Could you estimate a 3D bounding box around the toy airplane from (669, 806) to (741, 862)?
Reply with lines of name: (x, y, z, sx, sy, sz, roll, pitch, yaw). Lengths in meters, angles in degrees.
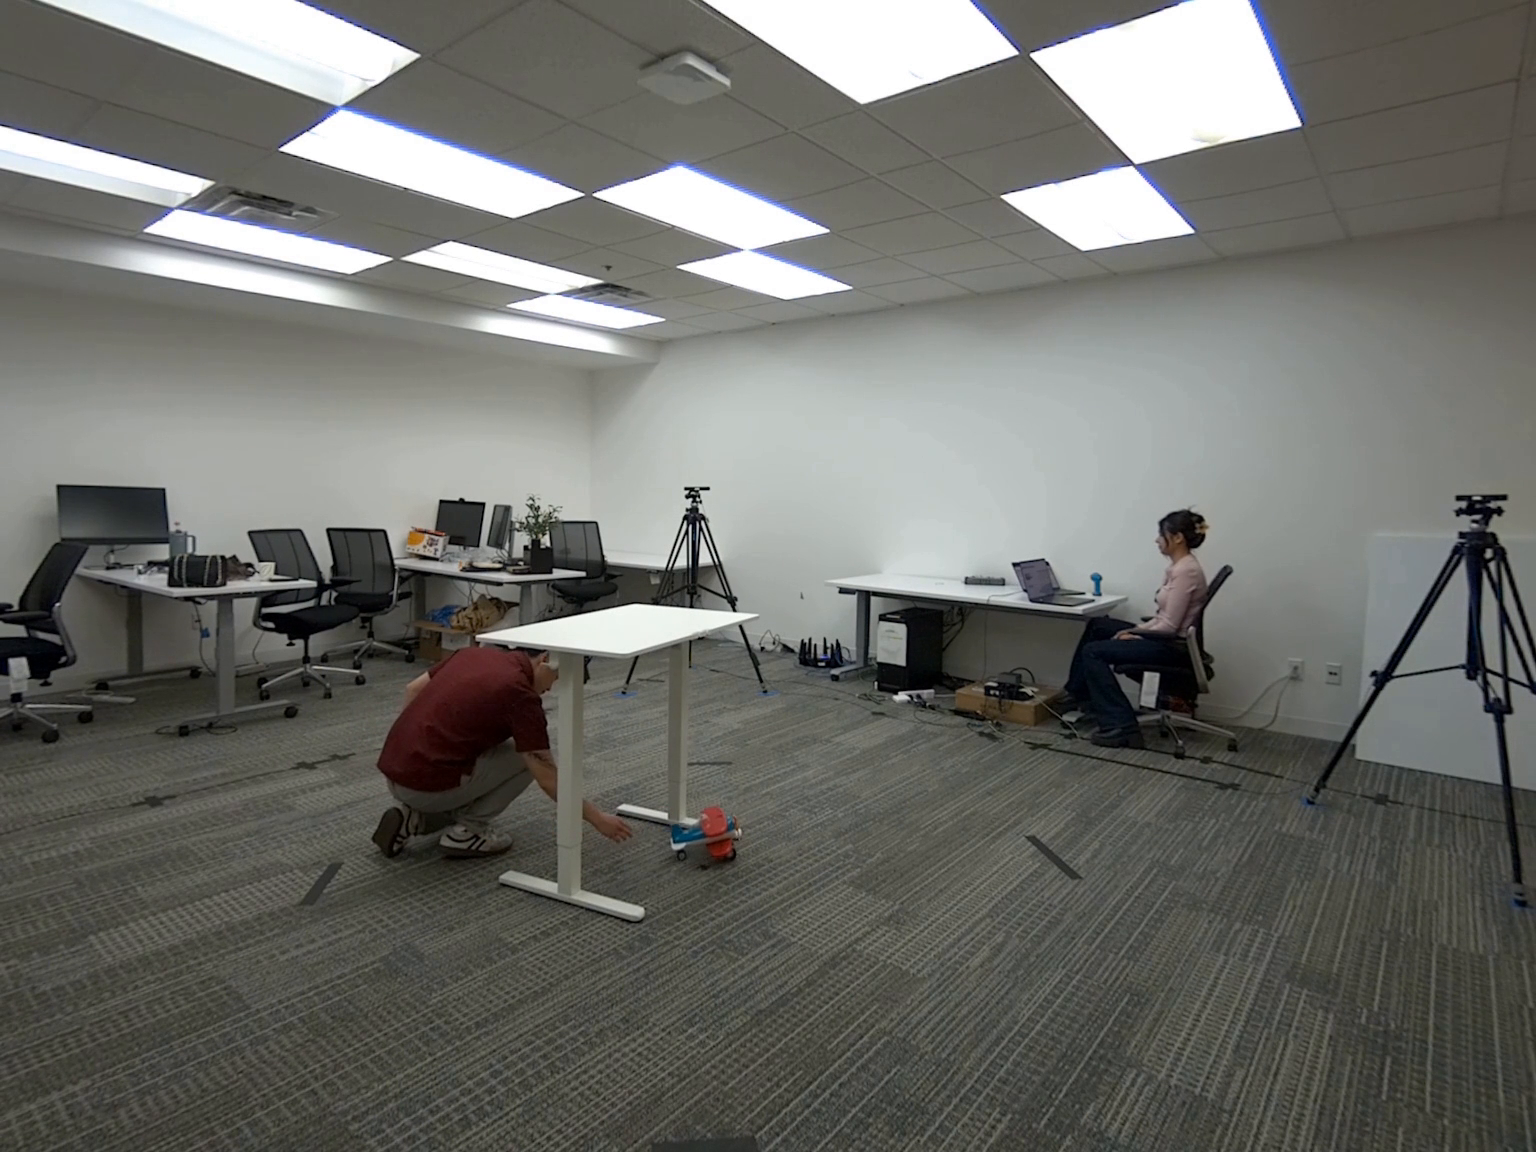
toy airplane: (-0.248, 0.988, 3.182, 0.252, 0.156, 0.259, -2, 6, -36)
